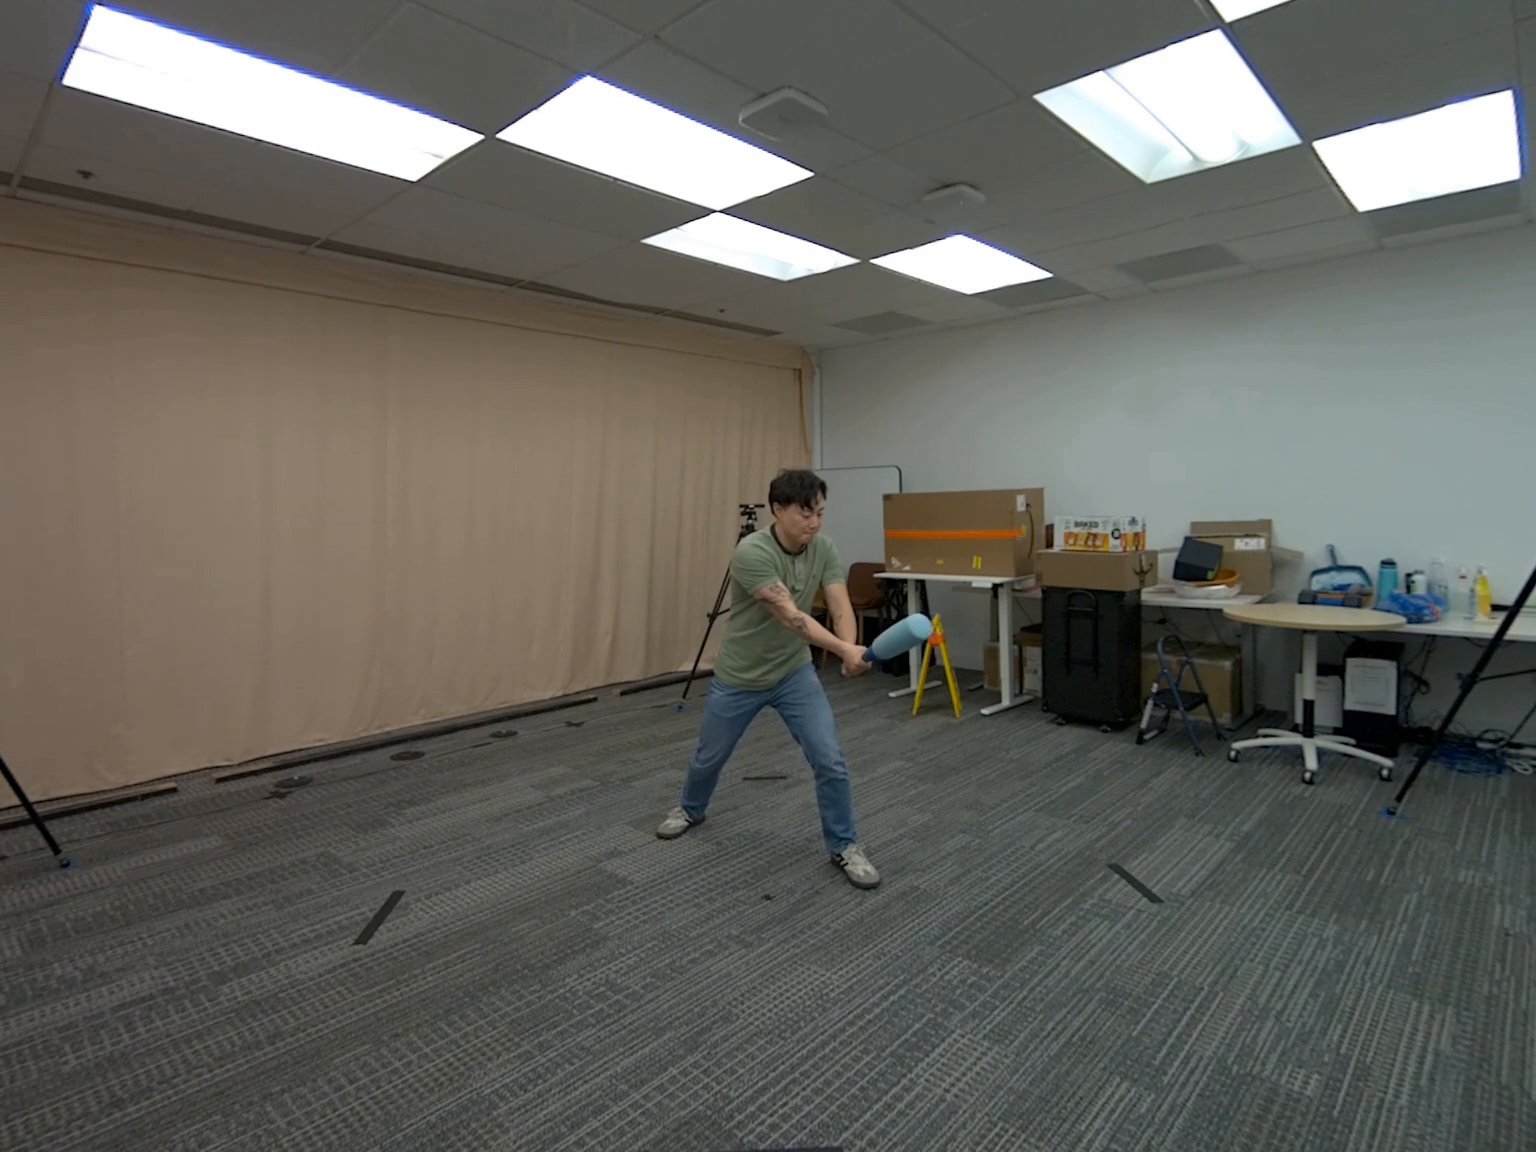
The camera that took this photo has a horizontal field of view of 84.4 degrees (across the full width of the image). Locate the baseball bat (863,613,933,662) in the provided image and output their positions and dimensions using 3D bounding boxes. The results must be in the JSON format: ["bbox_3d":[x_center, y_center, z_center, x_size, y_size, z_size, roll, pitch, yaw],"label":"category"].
[{"bbox_3d":[0.366,0.243,2.755,0.087,0.090,0.543,-1,-21,-18],"label":"baseball bat"}]
